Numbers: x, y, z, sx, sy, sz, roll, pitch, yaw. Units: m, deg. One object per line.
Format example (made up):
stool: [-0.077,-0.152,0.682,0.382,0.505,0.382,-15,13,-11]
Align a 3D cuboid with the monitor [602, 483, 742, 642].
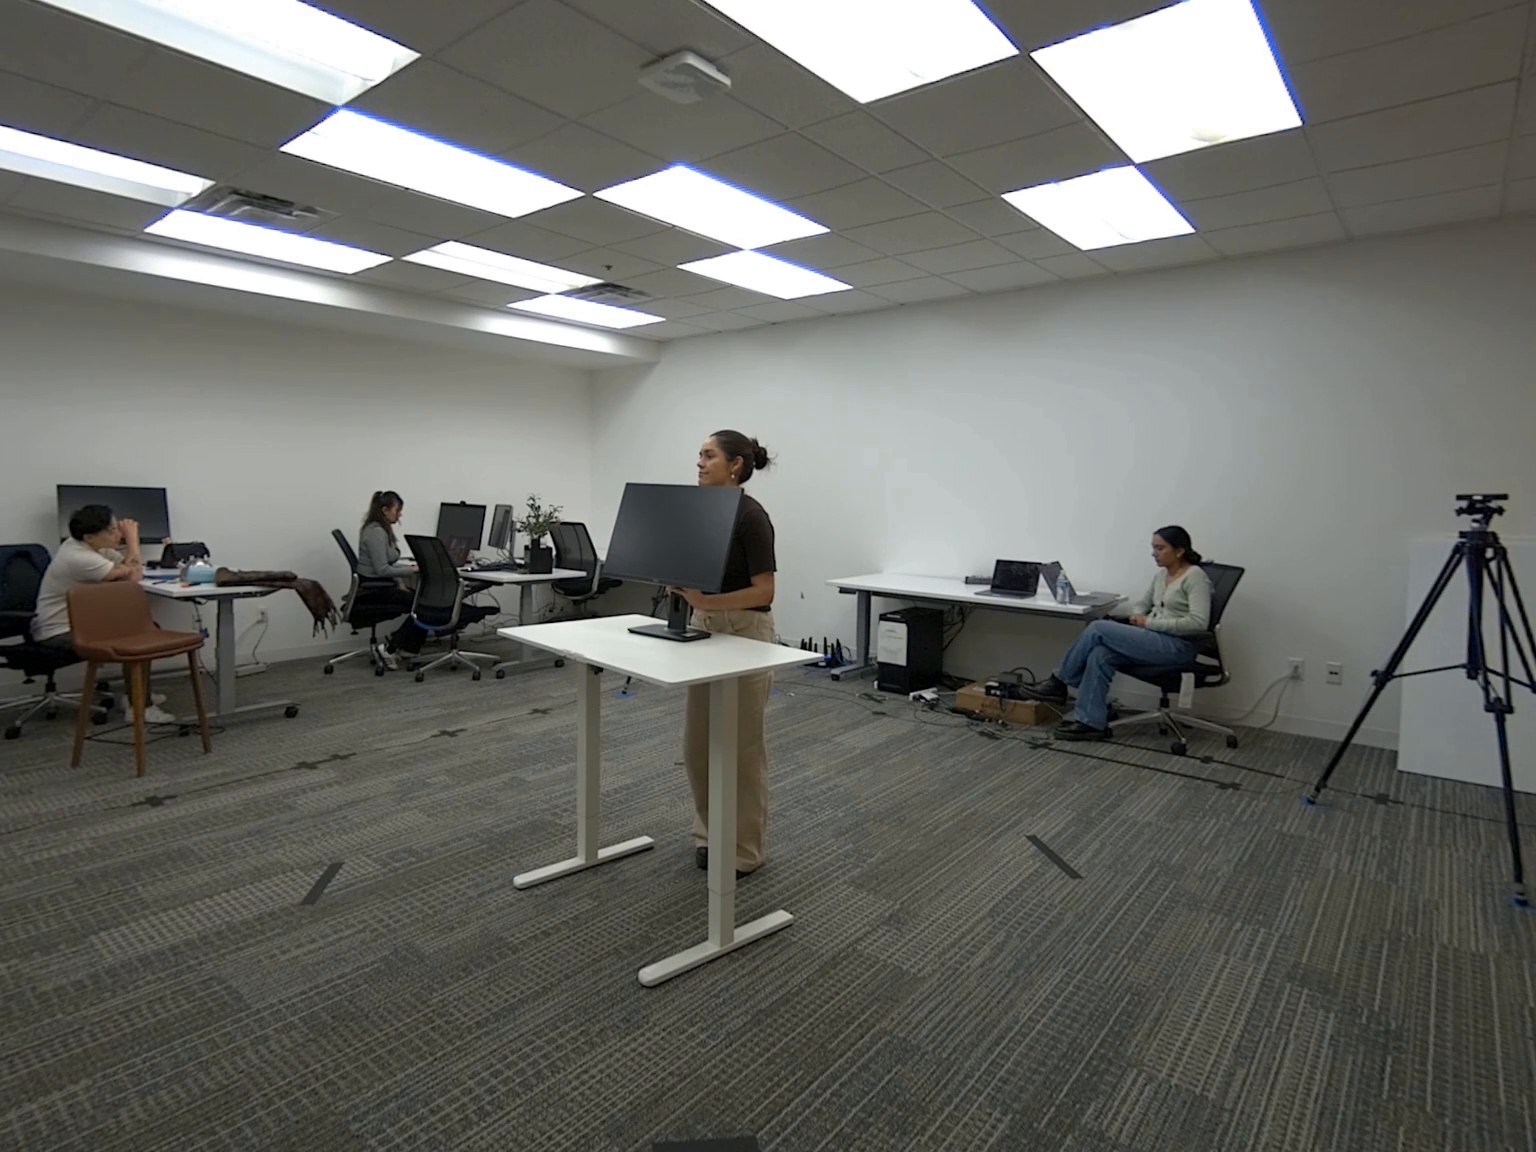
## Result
monitor: [-0.330,-0.053,2.920,0.556,0.522,0.181,6,2,34]
